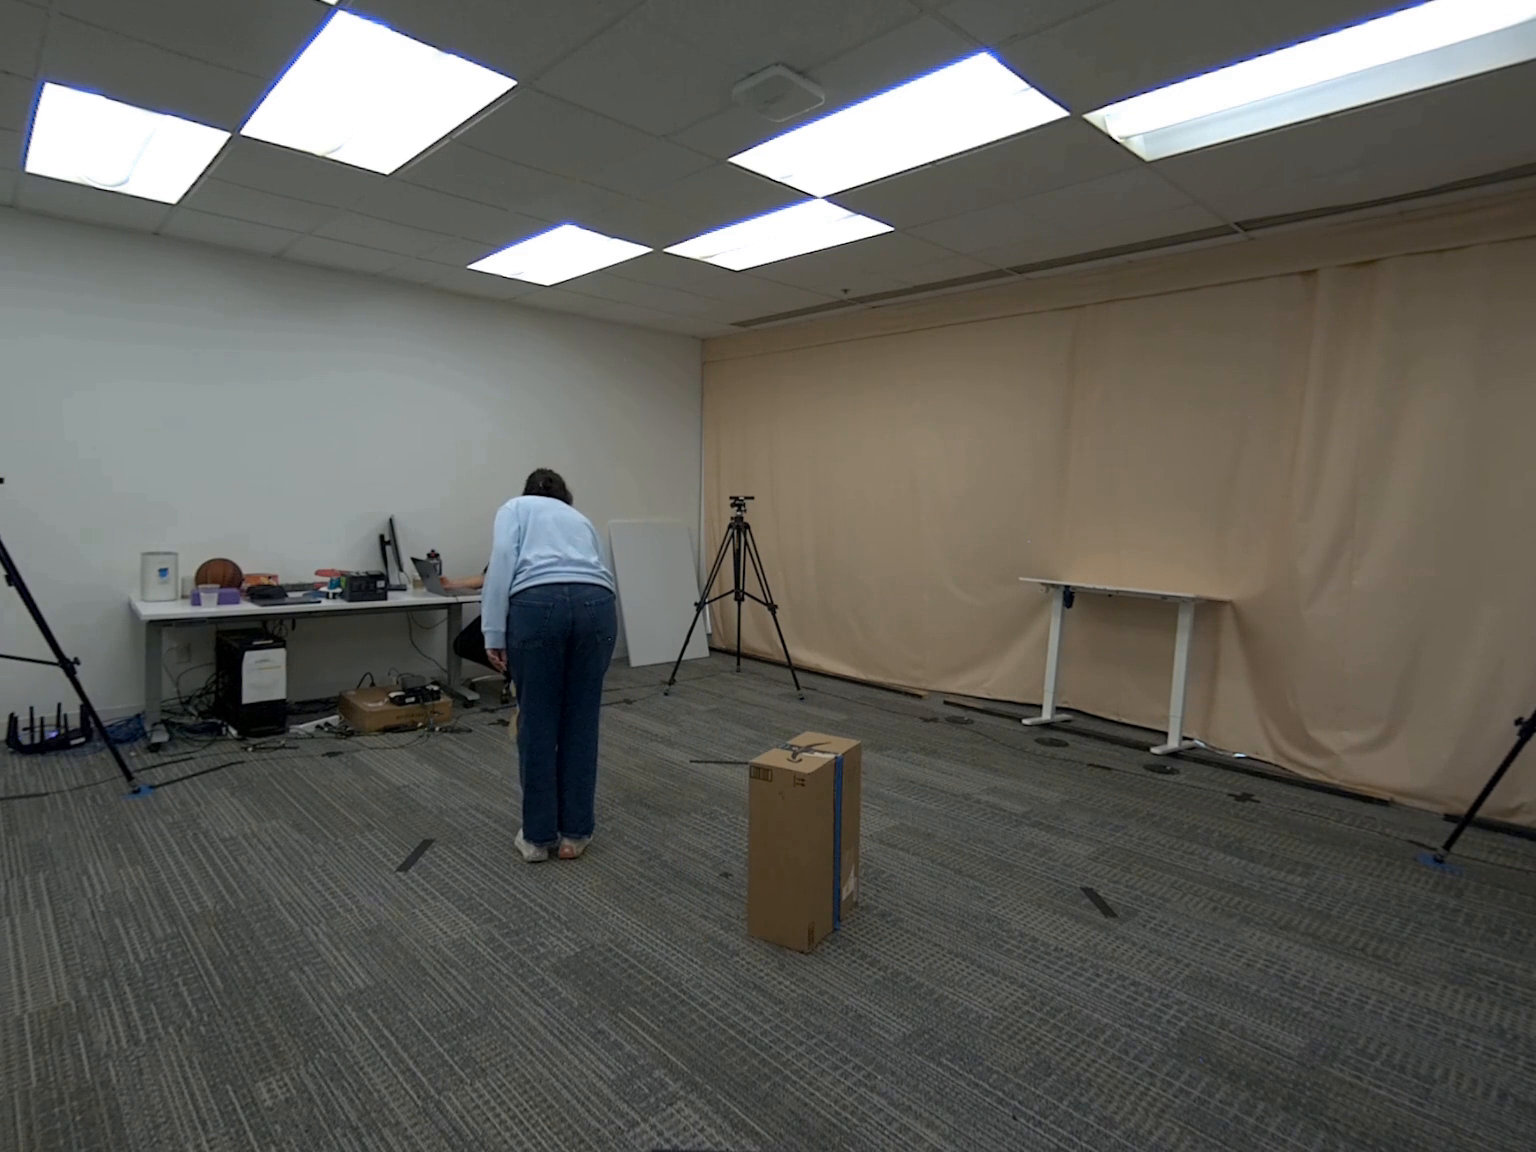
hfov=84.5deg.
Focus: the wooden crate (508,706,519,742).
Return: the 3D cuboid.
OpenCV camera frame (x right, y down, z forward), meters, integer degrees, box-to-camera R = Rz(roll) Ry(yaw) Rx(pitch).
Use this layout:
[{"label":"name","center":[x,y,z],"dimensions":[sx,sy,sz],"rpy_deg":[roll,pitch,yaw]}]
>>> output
[{"label":"wooden crate","center":[-0.962,0.539,3.670],"dimensions":[0.317,0.276,0.305],"rpy_deg":[-3,-15,-41]}]
